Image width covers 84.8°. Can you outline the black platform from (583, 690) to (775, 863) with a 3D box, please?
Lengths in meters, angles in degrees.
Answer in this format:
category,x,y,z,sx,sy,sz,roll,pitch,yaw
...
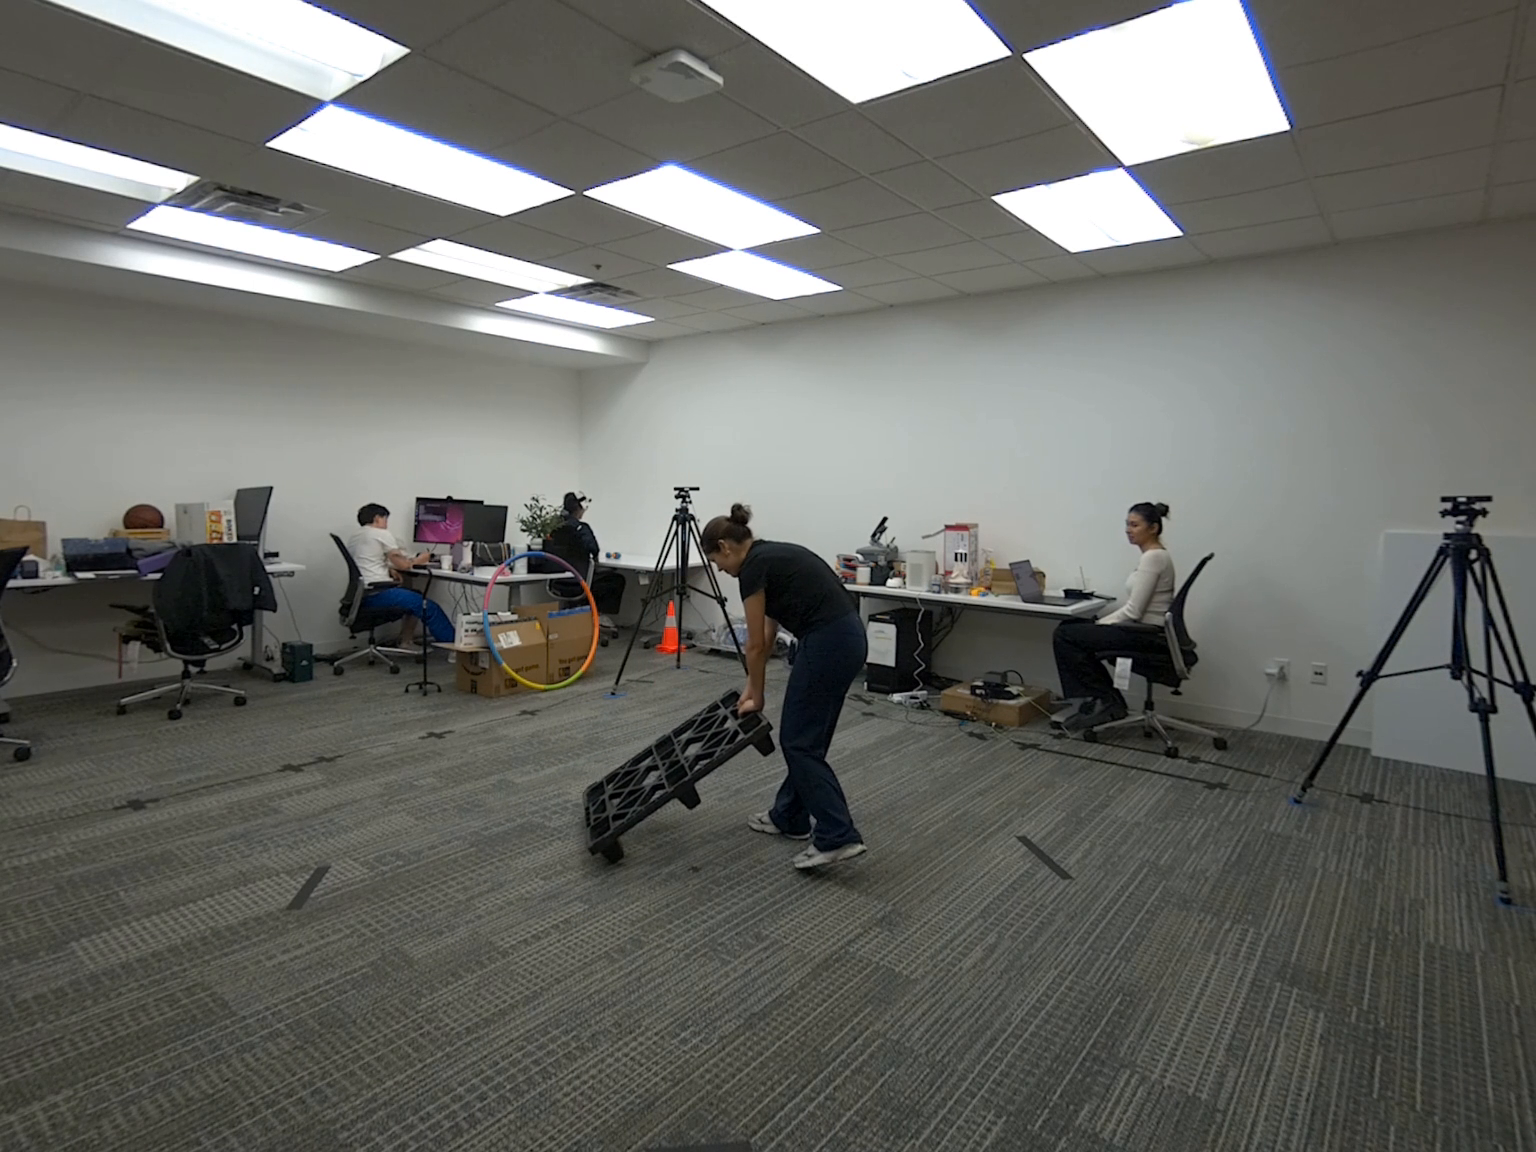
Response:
category,x,y,z,sx,sy,sz,roll,pitch,yaw
black platform,-0.339,0.778,3.405,0.803,0.141,0.615,-34,12,-7
